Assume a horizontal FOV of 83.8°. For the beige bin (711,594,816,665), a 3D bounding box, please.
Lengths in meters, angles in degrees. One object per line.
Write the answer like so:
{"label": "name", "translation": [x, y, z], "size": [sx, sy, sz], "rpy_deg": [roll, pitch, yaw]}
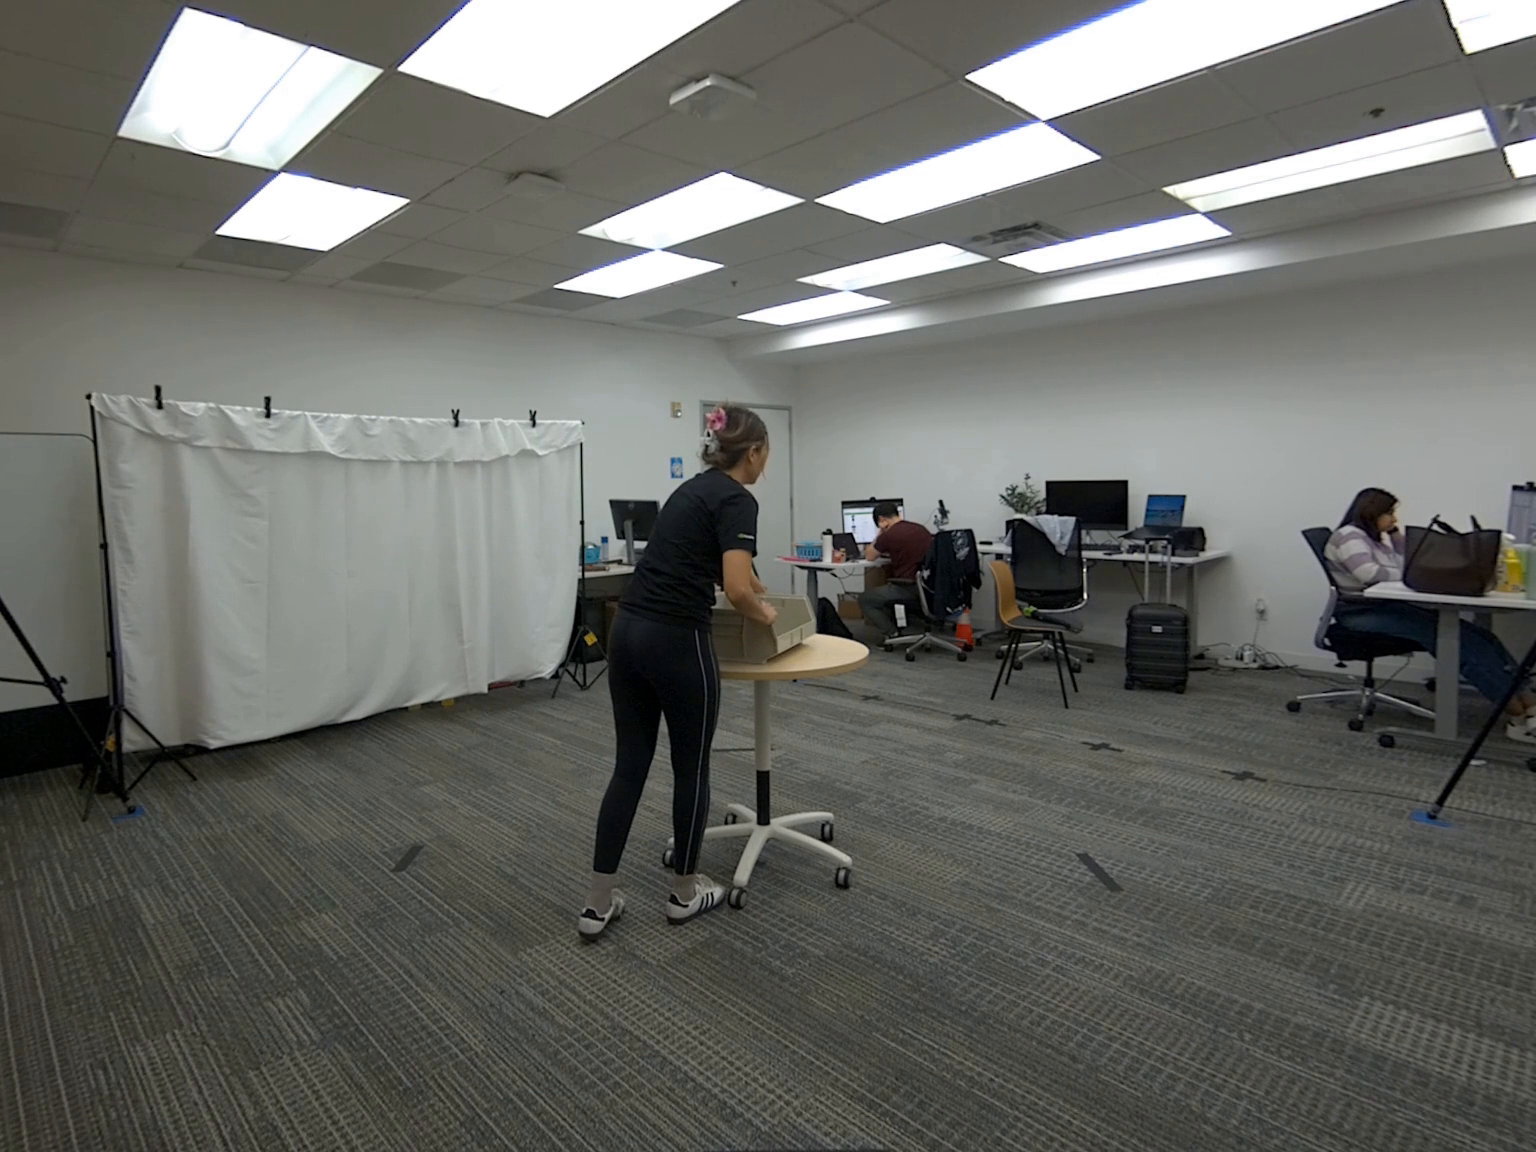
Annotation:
{"label": "beige bin", "translation": [-0.068, 0.178, 3.066], "size": [0.385, 0.188, 0.415], "rpy_deg": [-1, 6, 23]}
